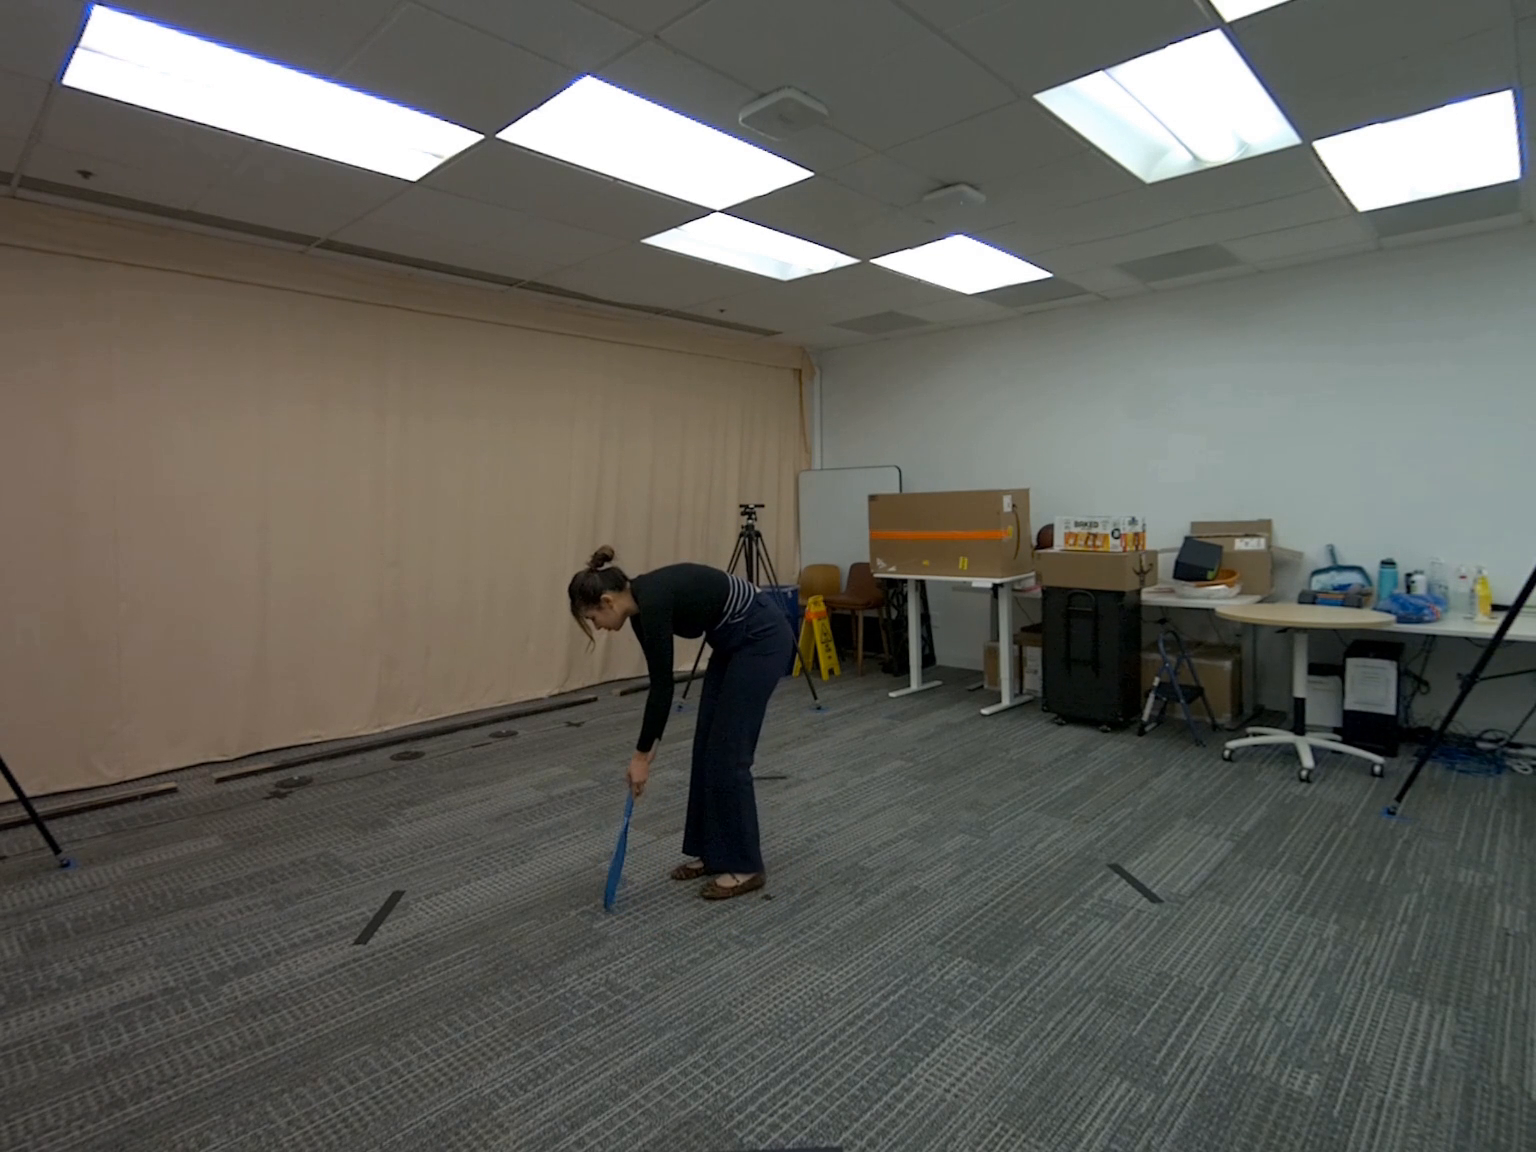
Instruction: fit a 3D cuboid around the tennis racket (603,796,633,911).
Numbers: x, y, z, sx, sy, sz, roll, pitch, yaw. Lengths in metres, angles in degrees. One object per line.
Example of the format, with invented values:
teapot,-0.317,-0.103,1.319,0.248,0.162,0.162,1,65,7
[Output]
tennis racket,-0.513,0.947,2.965,0.032,0.435,0.211,11,-12,5
